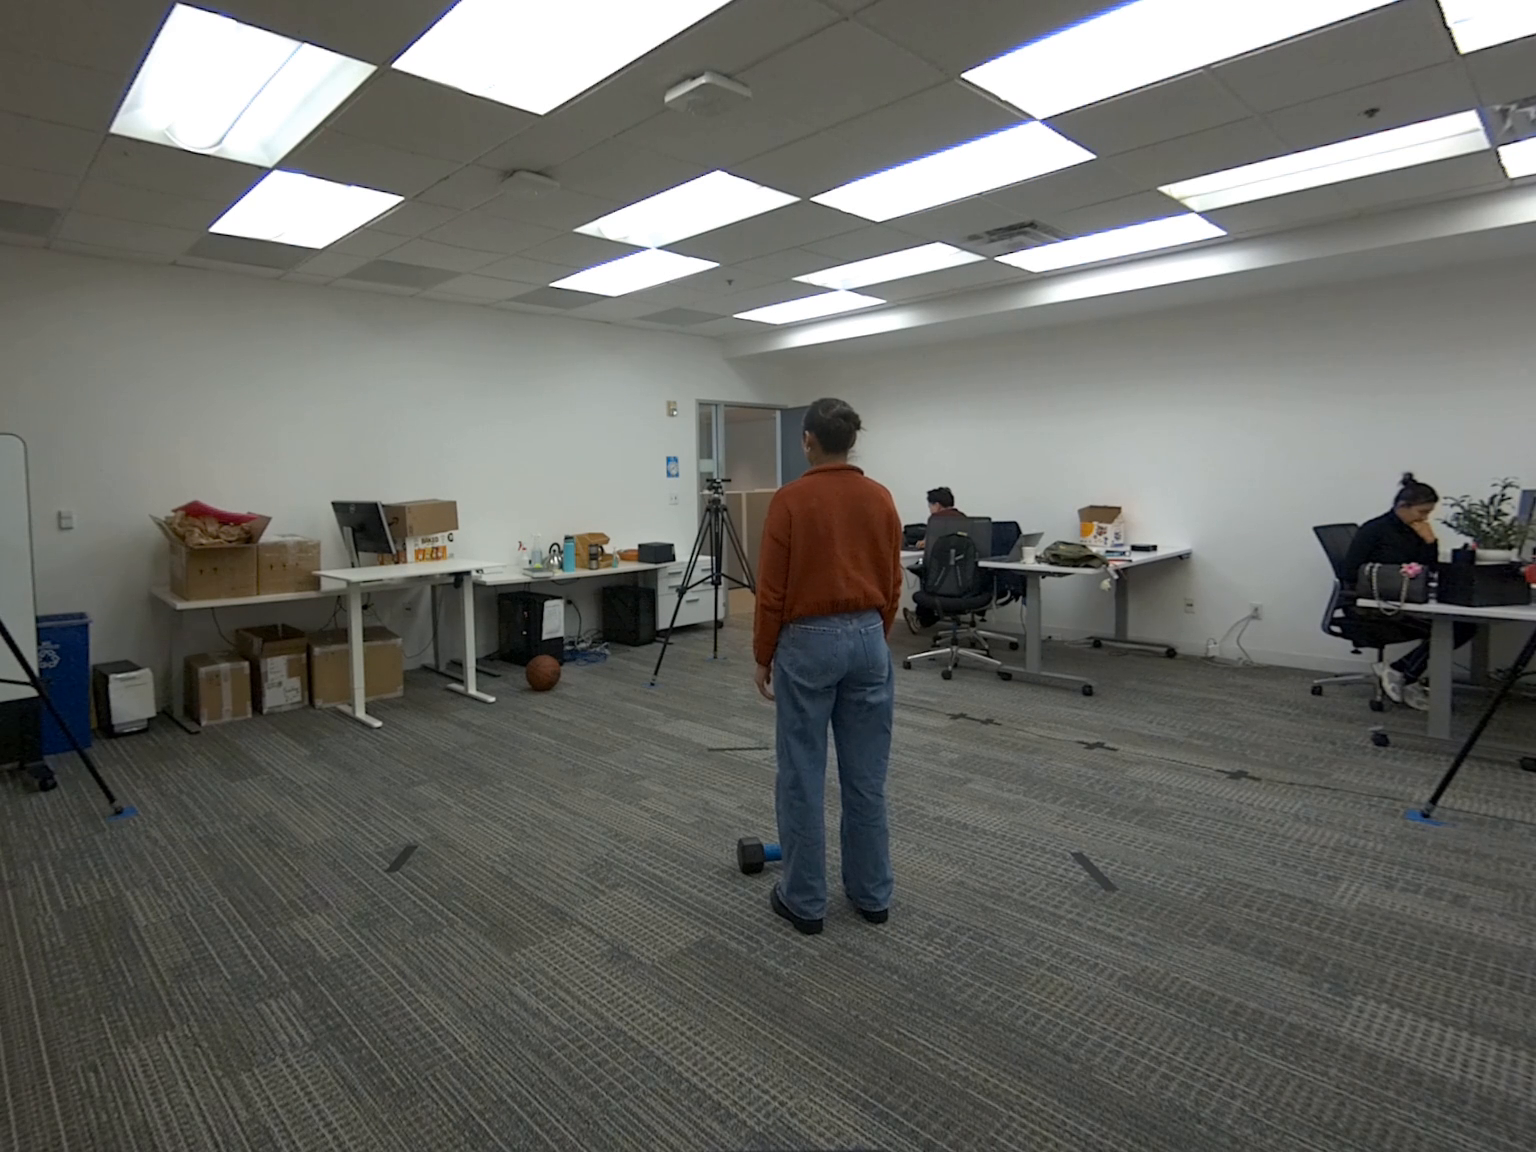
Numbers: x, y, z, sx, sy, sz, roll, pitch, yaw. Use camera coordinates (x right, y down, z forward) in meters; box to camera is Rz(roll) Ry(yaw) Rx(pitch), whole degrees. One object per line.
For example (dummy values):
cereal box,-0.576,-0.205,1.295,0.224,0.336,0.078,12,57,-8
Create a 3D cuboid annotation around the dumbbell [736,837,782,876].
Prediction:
dumbbell,0.042,0.992,3.070,0.290,0.120,0.112,-2,35,-12
